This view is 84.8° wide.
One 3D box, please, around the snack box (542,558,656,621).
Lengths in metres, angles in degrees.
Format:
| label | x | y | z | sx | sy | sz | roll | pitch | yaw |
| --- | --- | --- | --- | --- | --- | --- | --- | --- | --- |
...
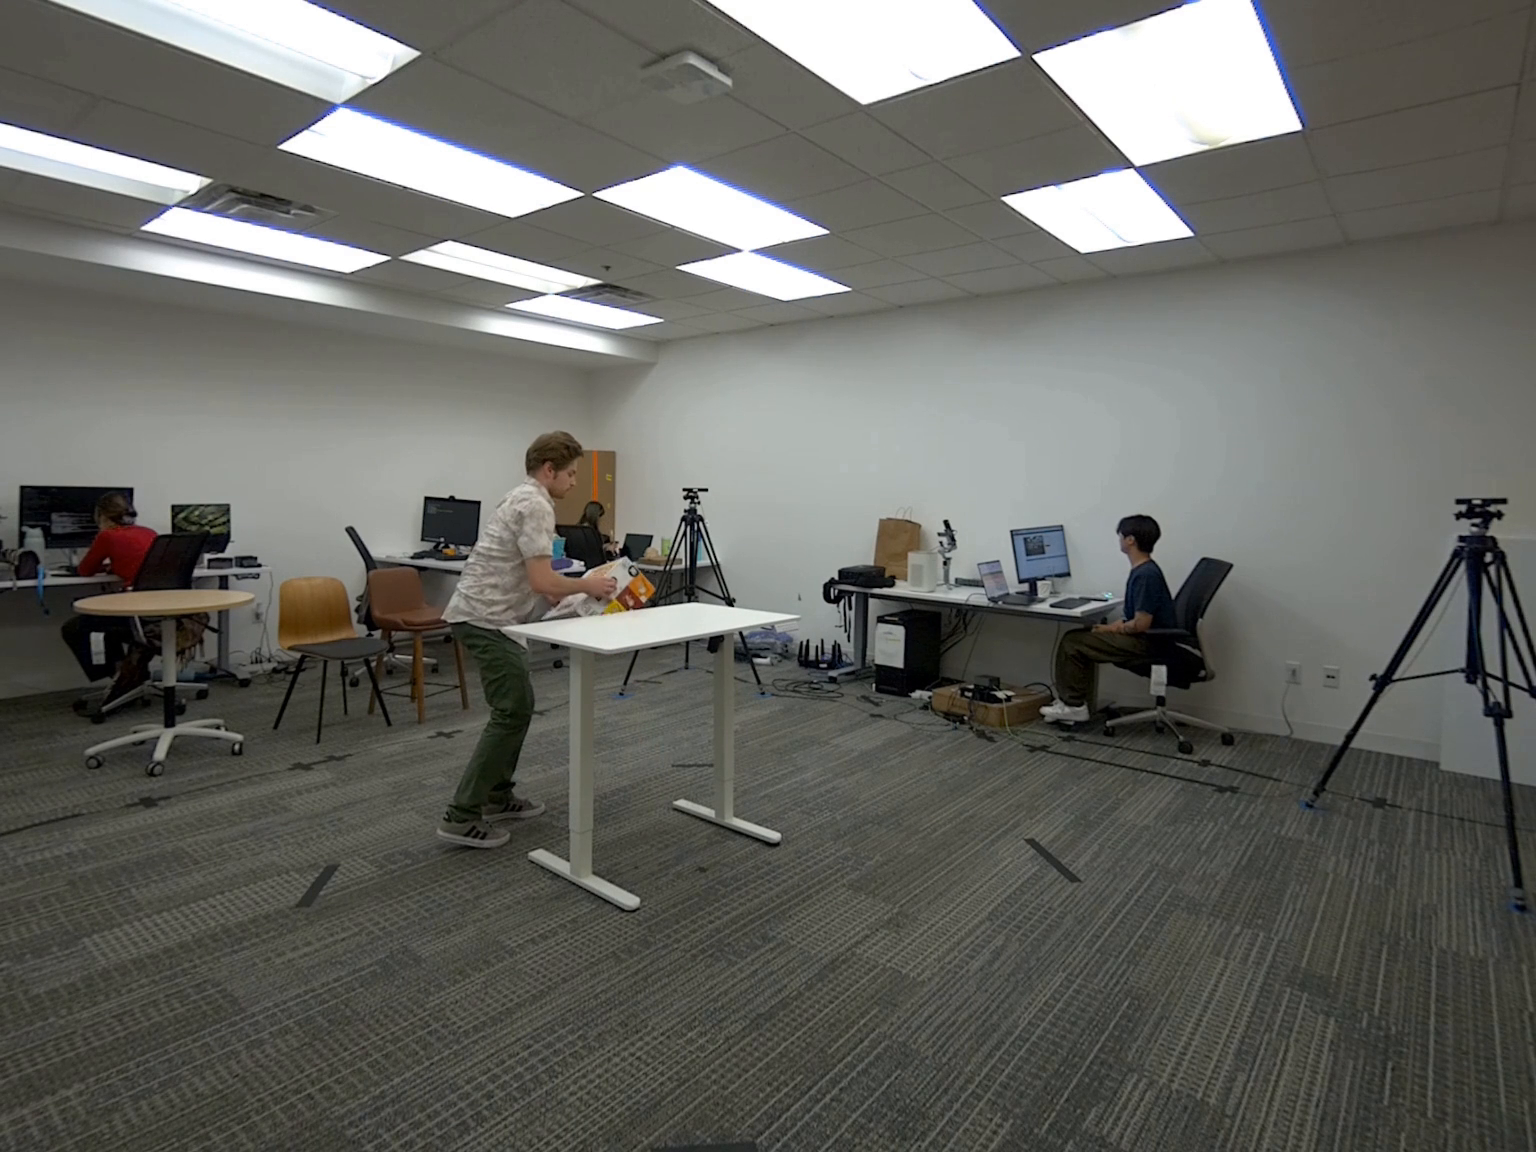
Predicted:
| label | x | y | z | sx | sy | sz | roll | pitch | yaw |
| --- | --- | --- | --- | --- | --- | --- | --- | --- | --- |
| snack box | -0.779 | 0.133 | 3.808 | 0.340 | 0.201 | 0.413 | -50 | 19 | -30 |
